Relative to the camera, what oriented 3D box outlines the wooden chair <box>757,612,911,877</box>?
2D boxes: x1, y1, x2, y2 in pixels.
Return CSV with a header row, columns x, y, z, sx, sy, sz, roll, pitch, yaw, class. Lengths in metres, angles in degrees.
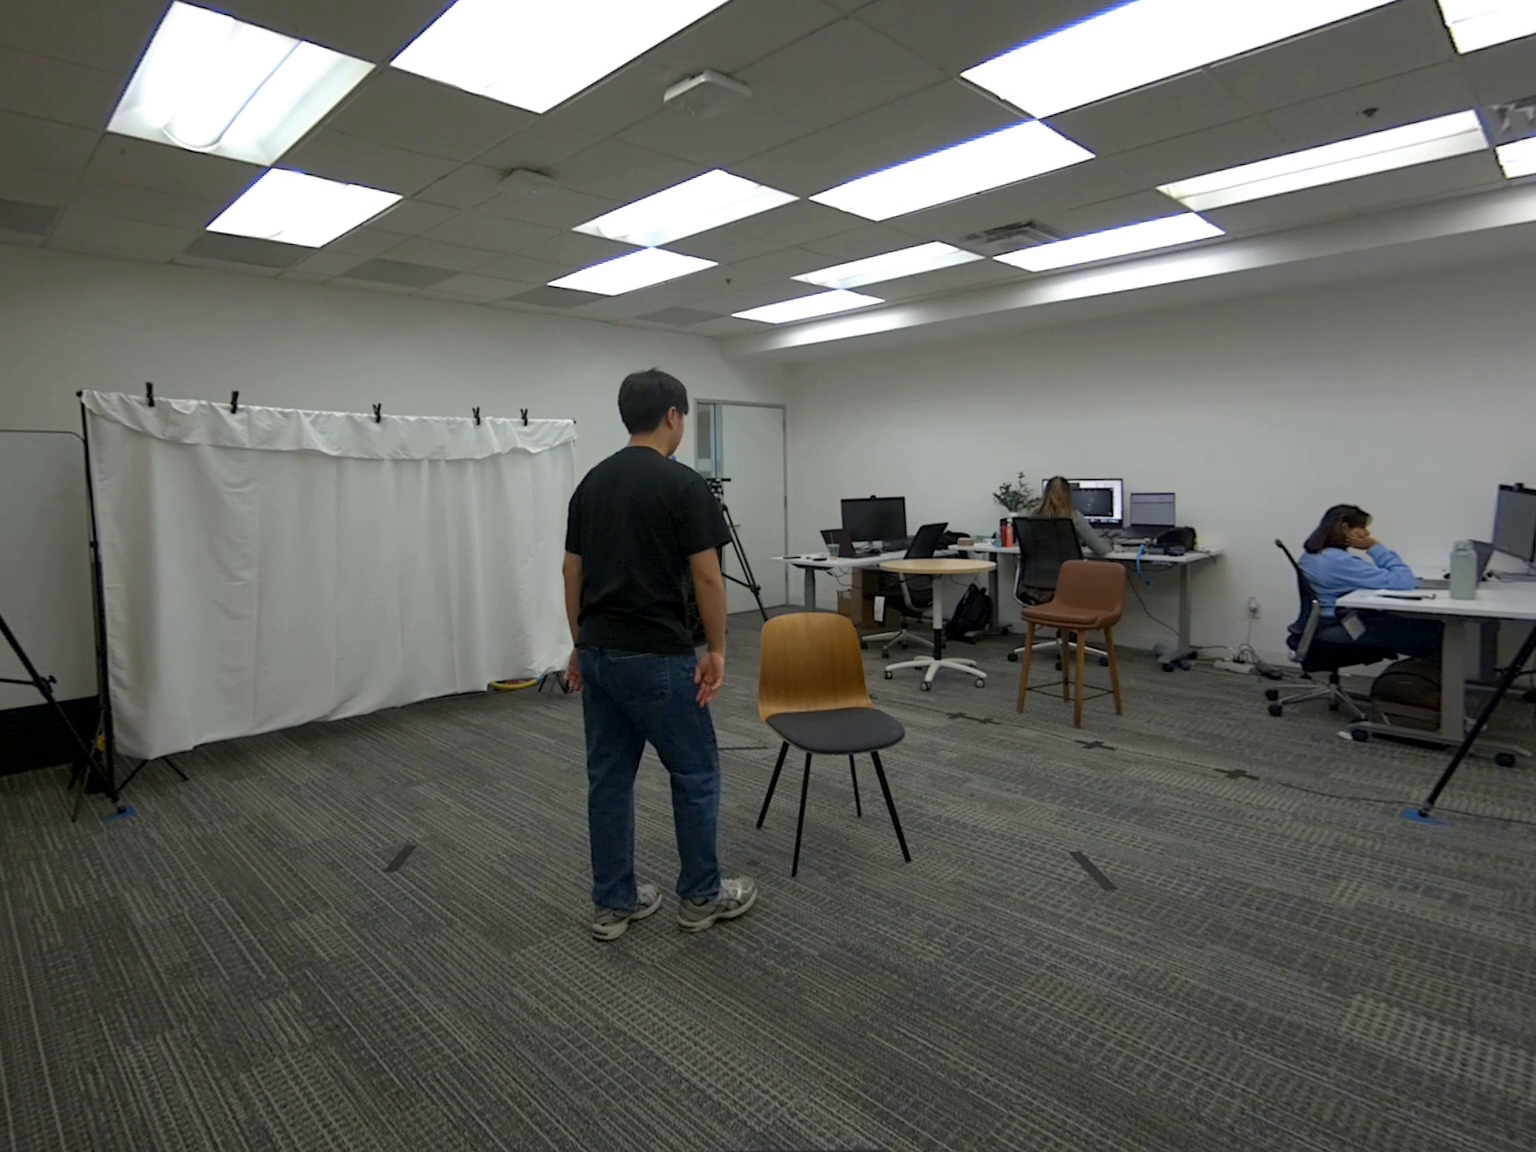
x,y,z,sx,sy,sz,roll,pitch,yaw,class
0.232,0.599,3.221,0.471,0.877,0.530,-2,0,-16,wooden chair
